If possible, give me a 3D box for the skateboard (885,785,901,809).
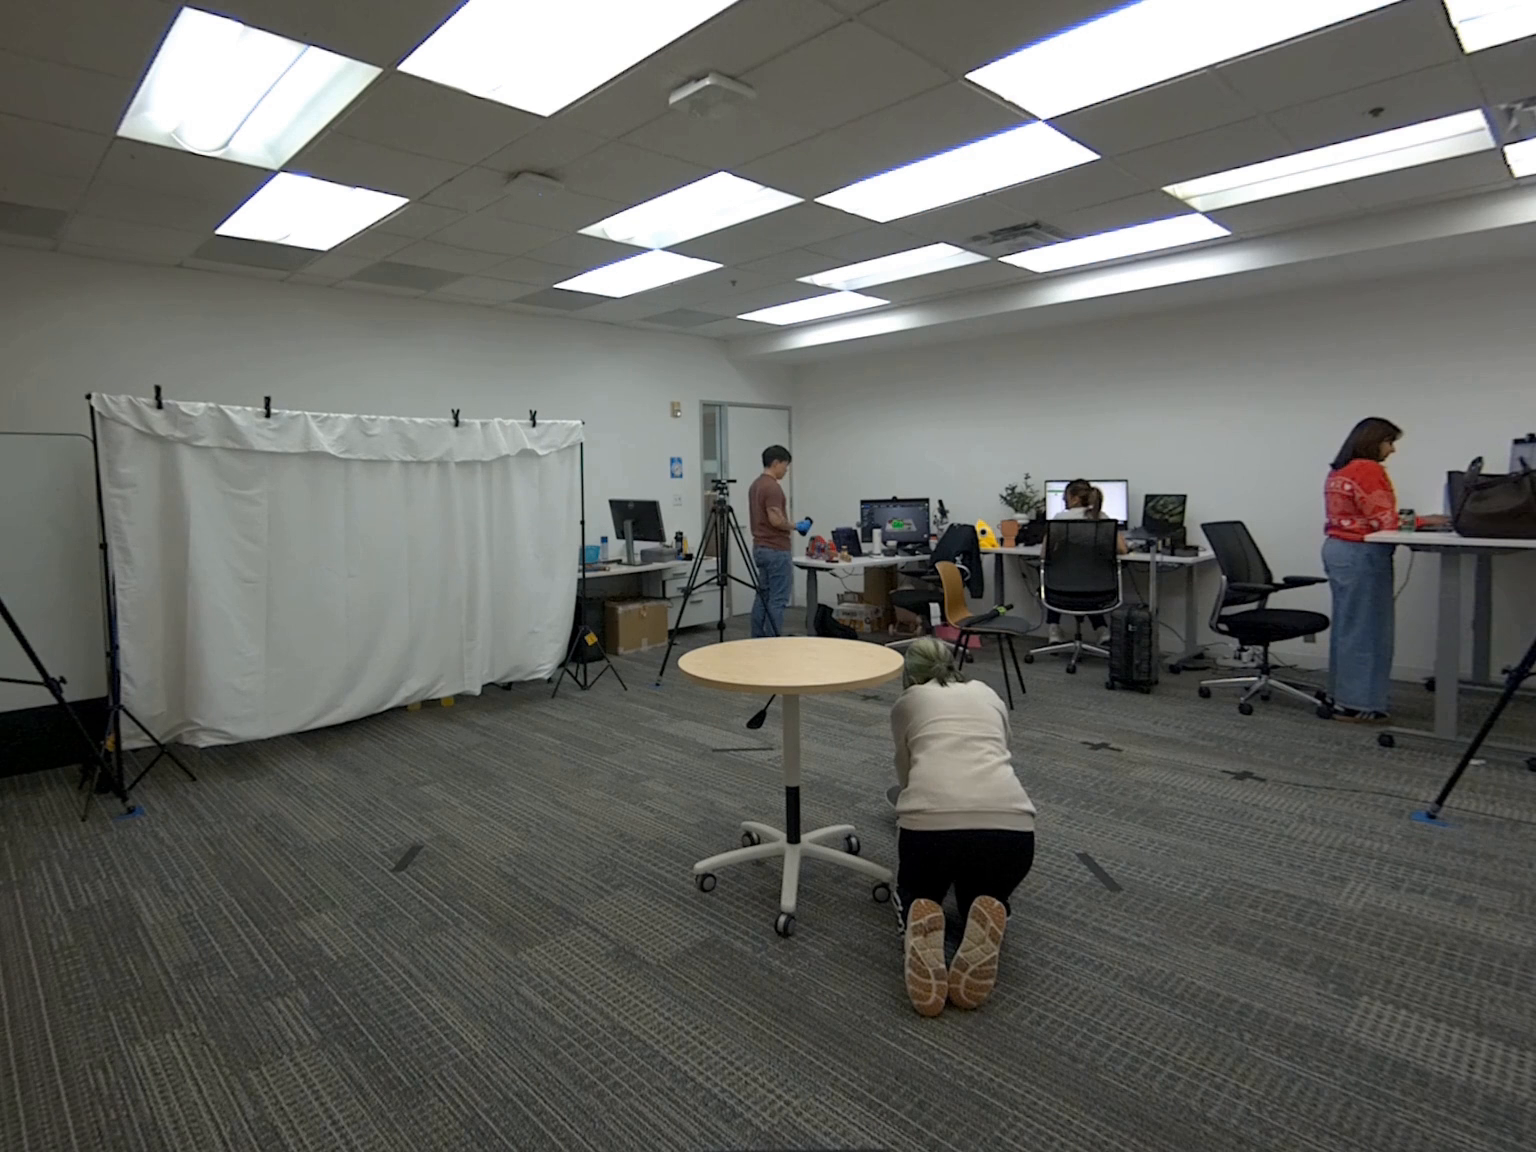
[{"bbox_3d":[0.652,0.956,3.195,0.191,0.110,0.799,-1,6,-16],"label":"skateboard"}]
